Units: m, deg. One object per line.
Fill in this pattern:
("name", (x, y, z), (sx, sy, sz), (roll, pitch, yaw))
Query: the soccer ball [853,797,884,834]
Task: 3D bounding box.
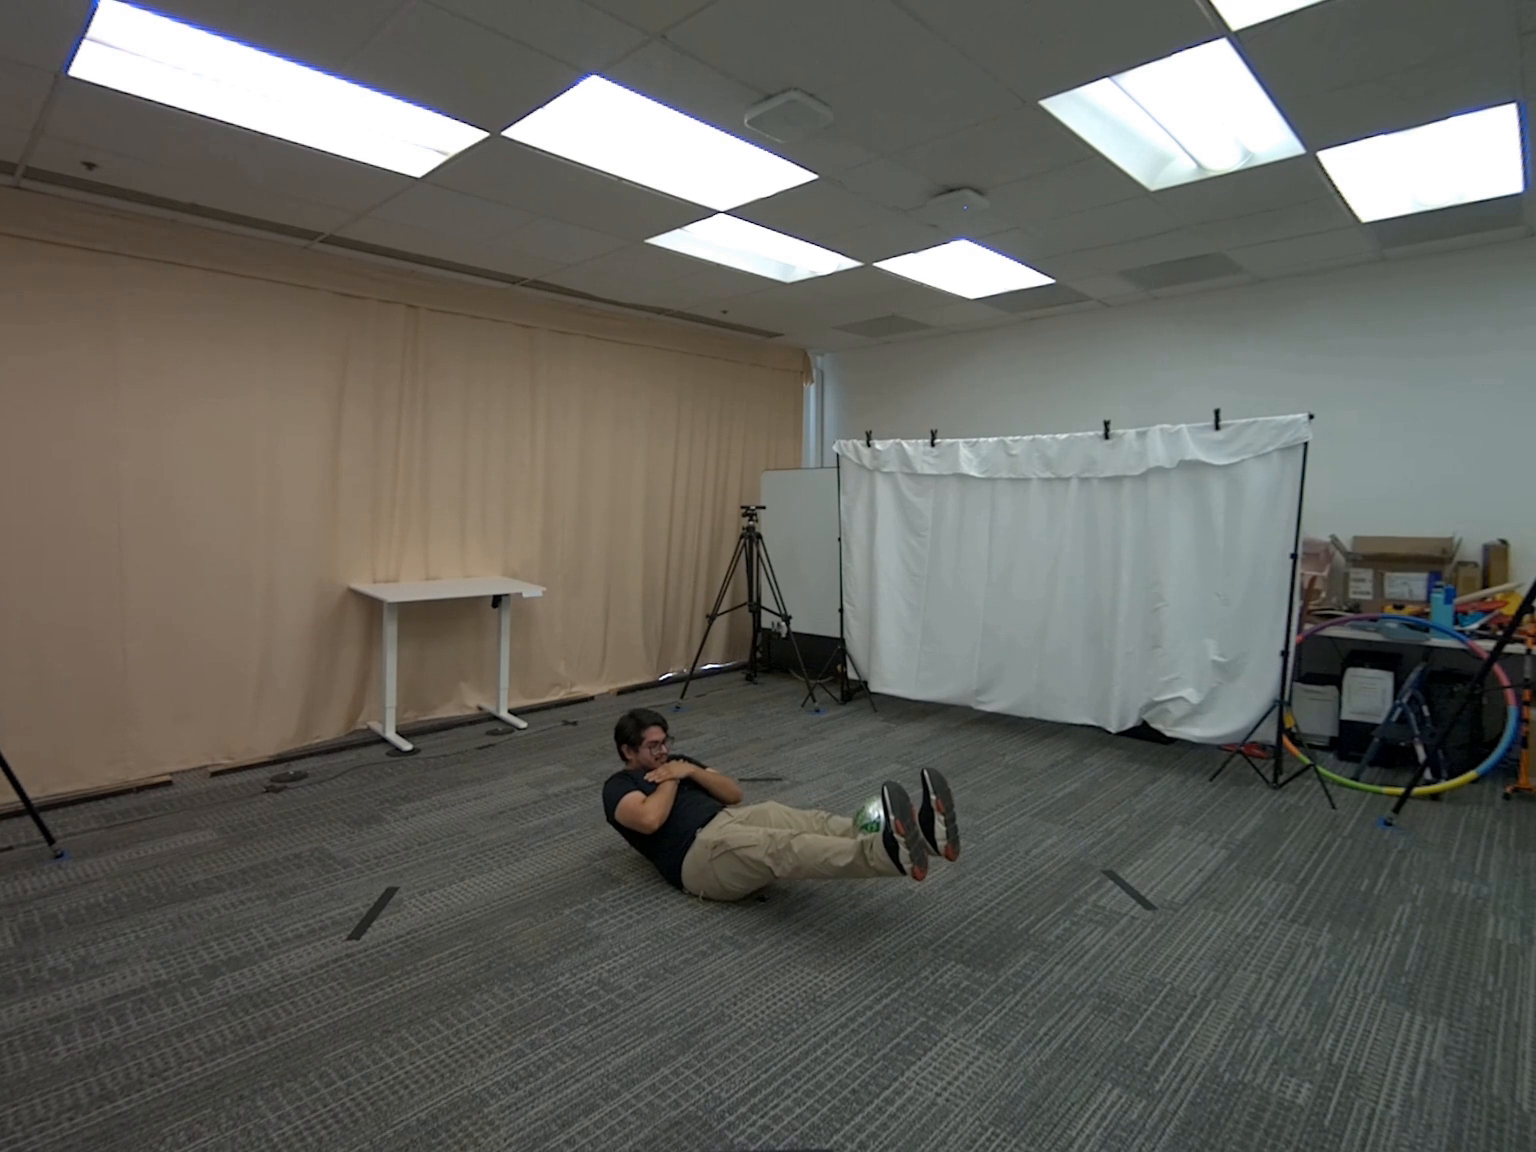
("soccer ball", (0.371, 0.804, 2.680), (0.187, 0.187, 0.188), (0, 4, -2))
